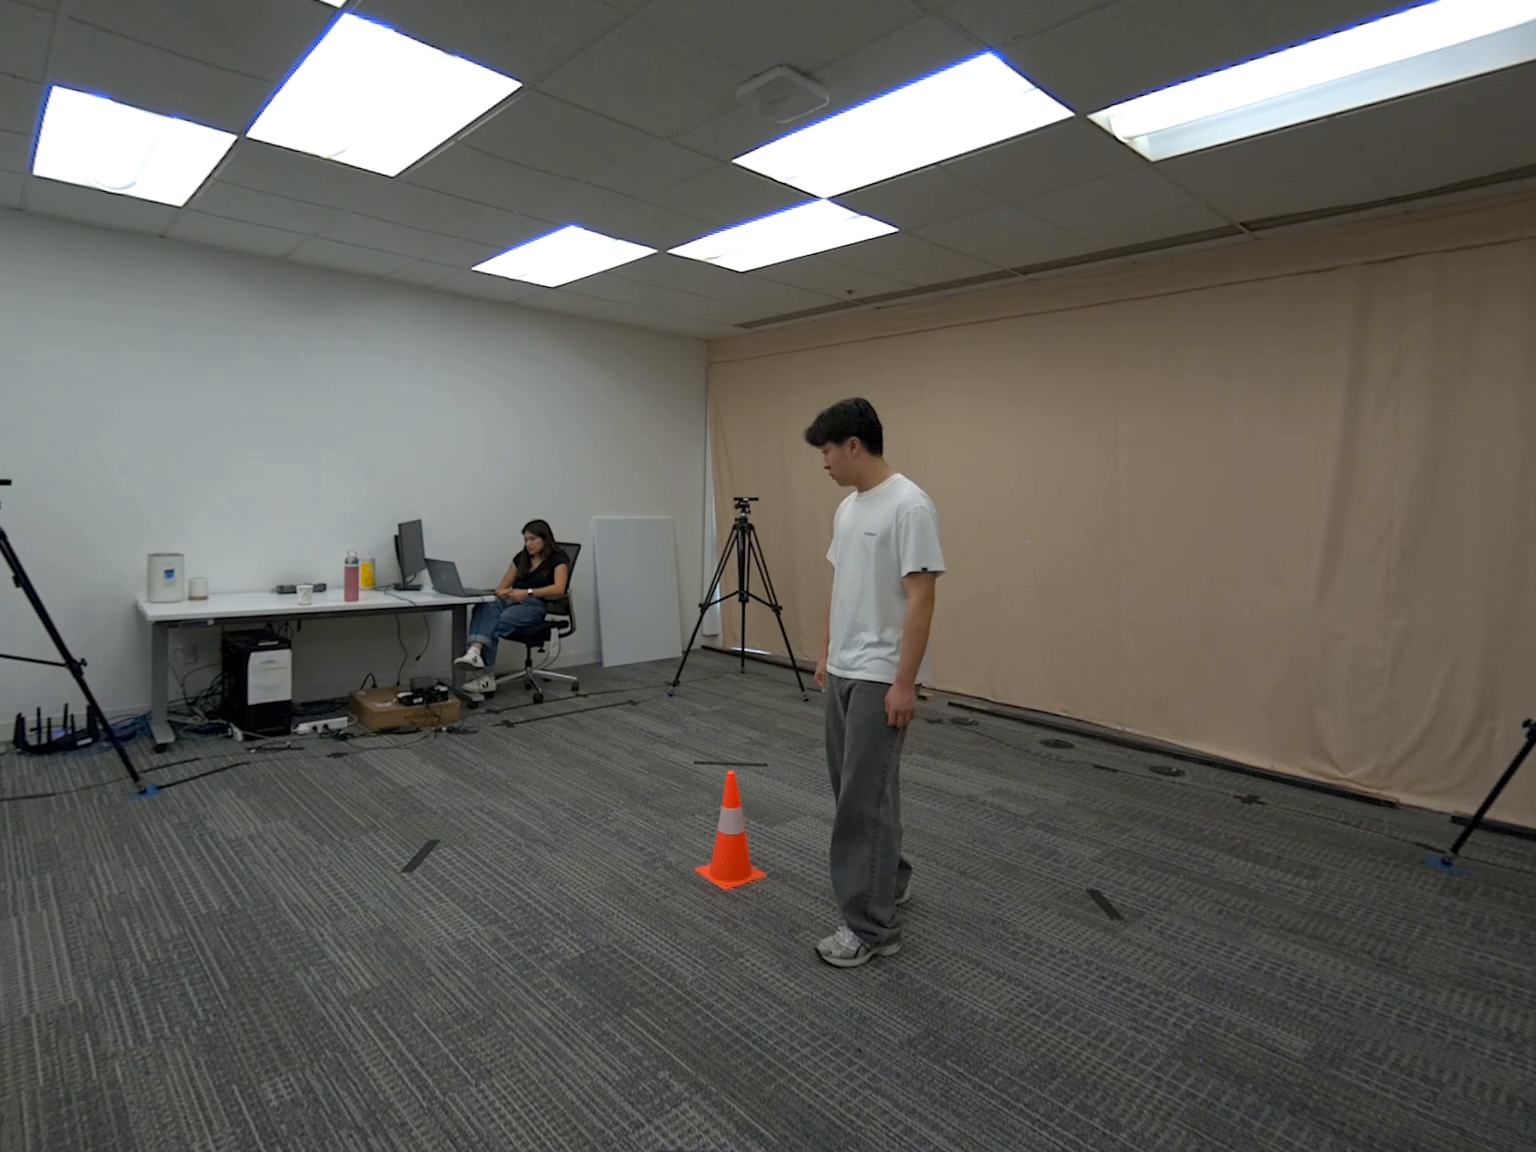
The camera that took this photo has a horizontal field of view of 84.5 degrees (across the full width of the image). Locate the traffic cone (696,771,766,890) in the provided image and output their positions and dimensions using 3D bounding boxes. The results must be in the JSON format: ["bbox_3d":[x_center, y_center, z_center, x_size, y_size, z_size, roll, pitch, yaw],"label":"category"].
[{"bbox_3d":[-0.144,0.924,3.112,0.199,0.382,0.210,-3,6,-38],"label":"traffic cone"}]
